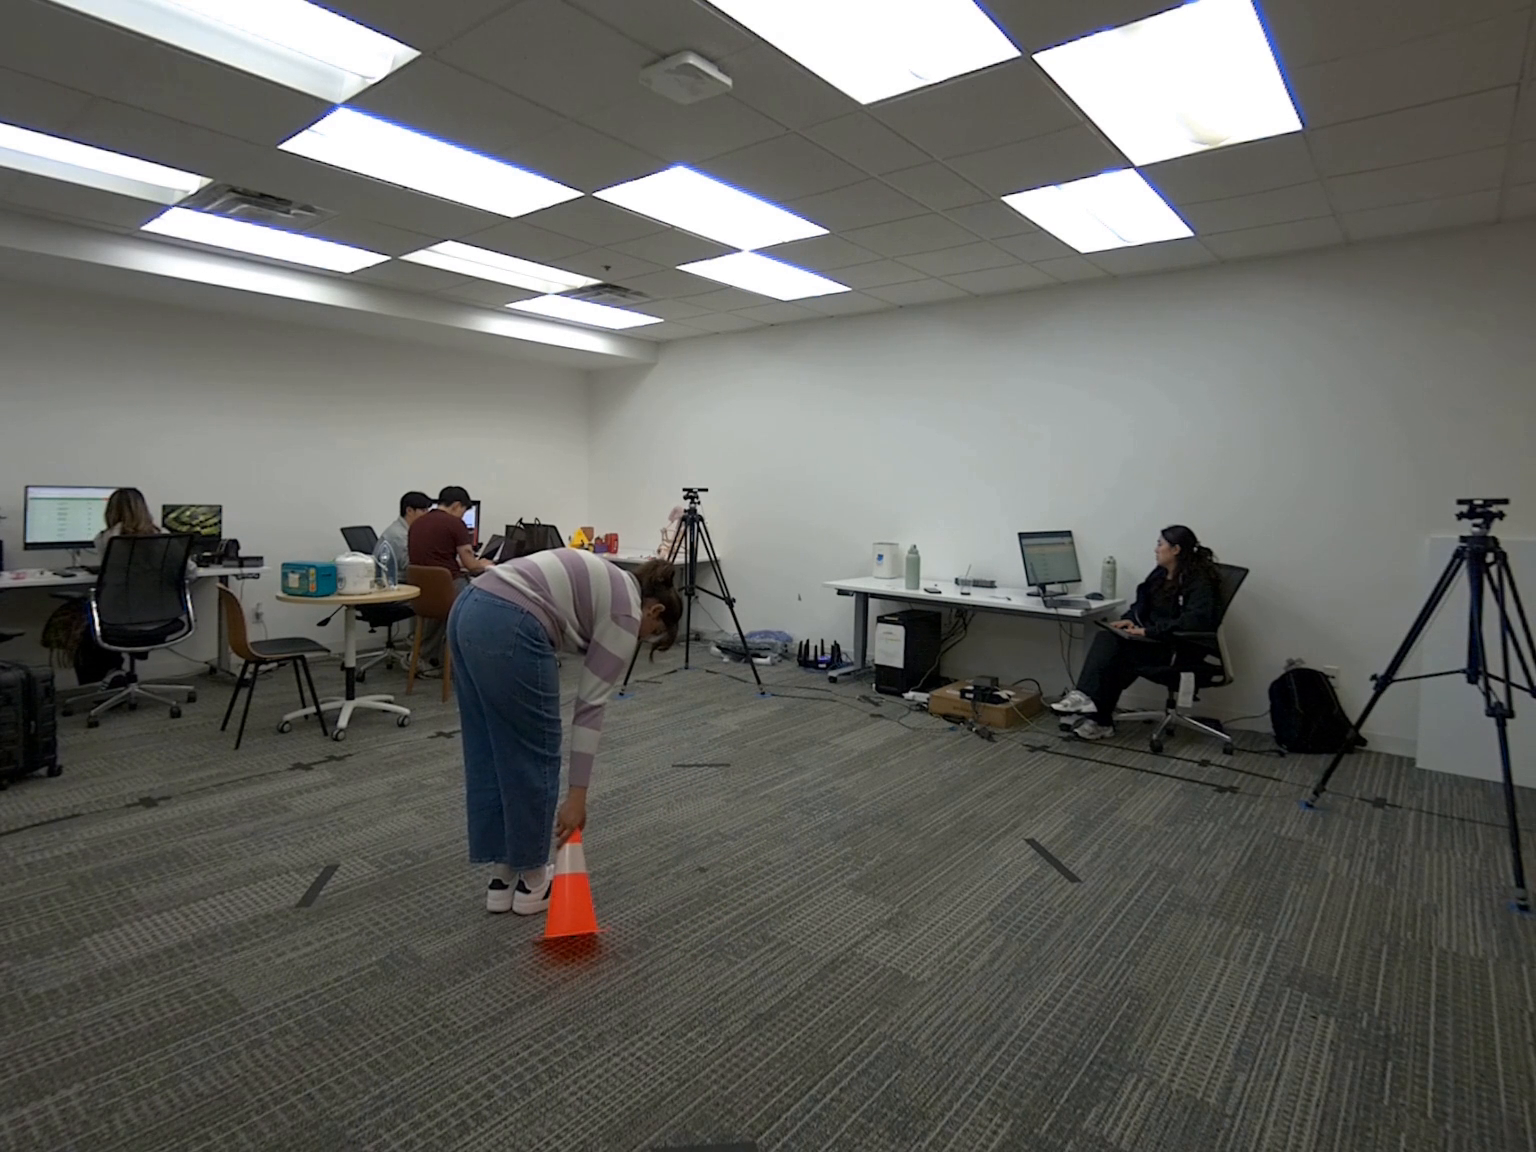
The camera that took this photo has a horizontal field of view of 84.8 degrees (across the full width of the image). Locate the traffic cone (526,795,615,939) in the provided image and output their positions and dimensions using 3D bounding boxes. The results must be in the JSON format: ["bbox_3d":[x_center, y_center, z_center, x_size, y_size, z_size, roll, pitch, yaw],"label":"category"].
[{"bbox_3d":[-0.627,0.902,2.623,0.199,0.393,0.204,7,-28,-30],"label":"traffic cone"}]
